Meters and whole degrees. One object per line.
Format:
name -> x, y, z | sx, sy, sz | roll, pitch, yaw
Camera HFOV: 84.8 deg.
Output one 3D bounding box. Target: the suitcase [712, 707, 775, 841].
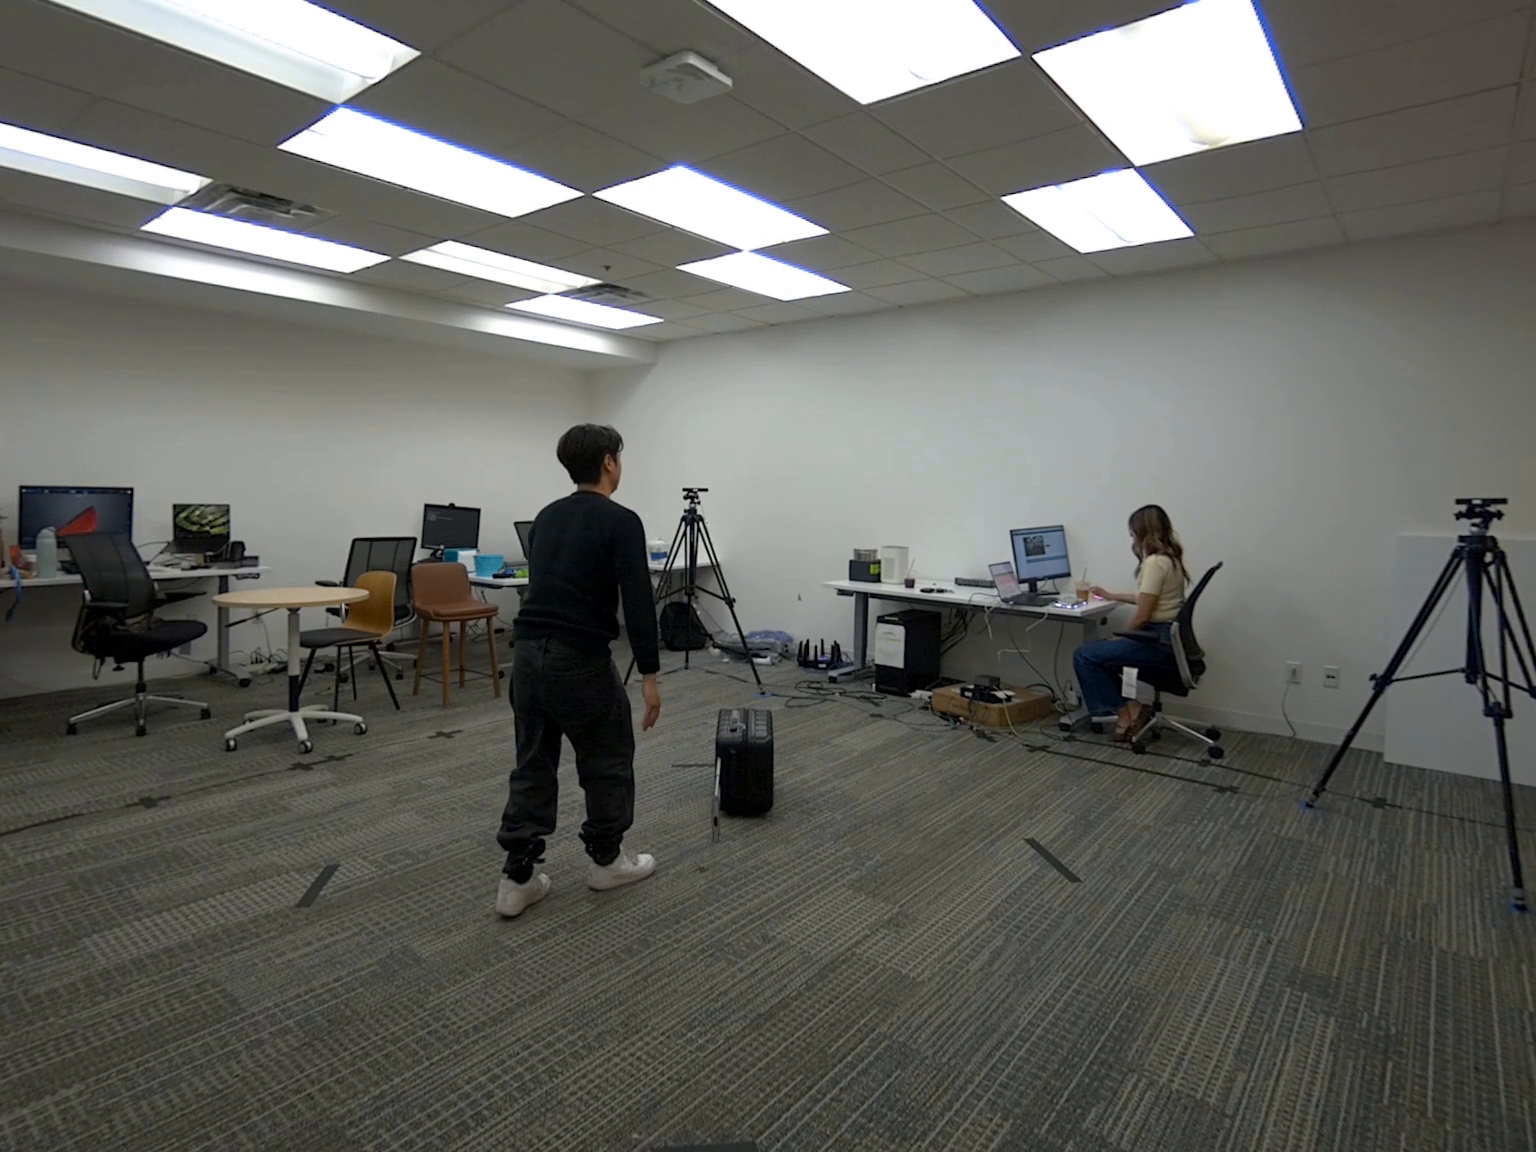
suitcase -> -0.105, 0.831, 3.617 | 0.257, 0.382, 0.983 | 0, 6, -2
